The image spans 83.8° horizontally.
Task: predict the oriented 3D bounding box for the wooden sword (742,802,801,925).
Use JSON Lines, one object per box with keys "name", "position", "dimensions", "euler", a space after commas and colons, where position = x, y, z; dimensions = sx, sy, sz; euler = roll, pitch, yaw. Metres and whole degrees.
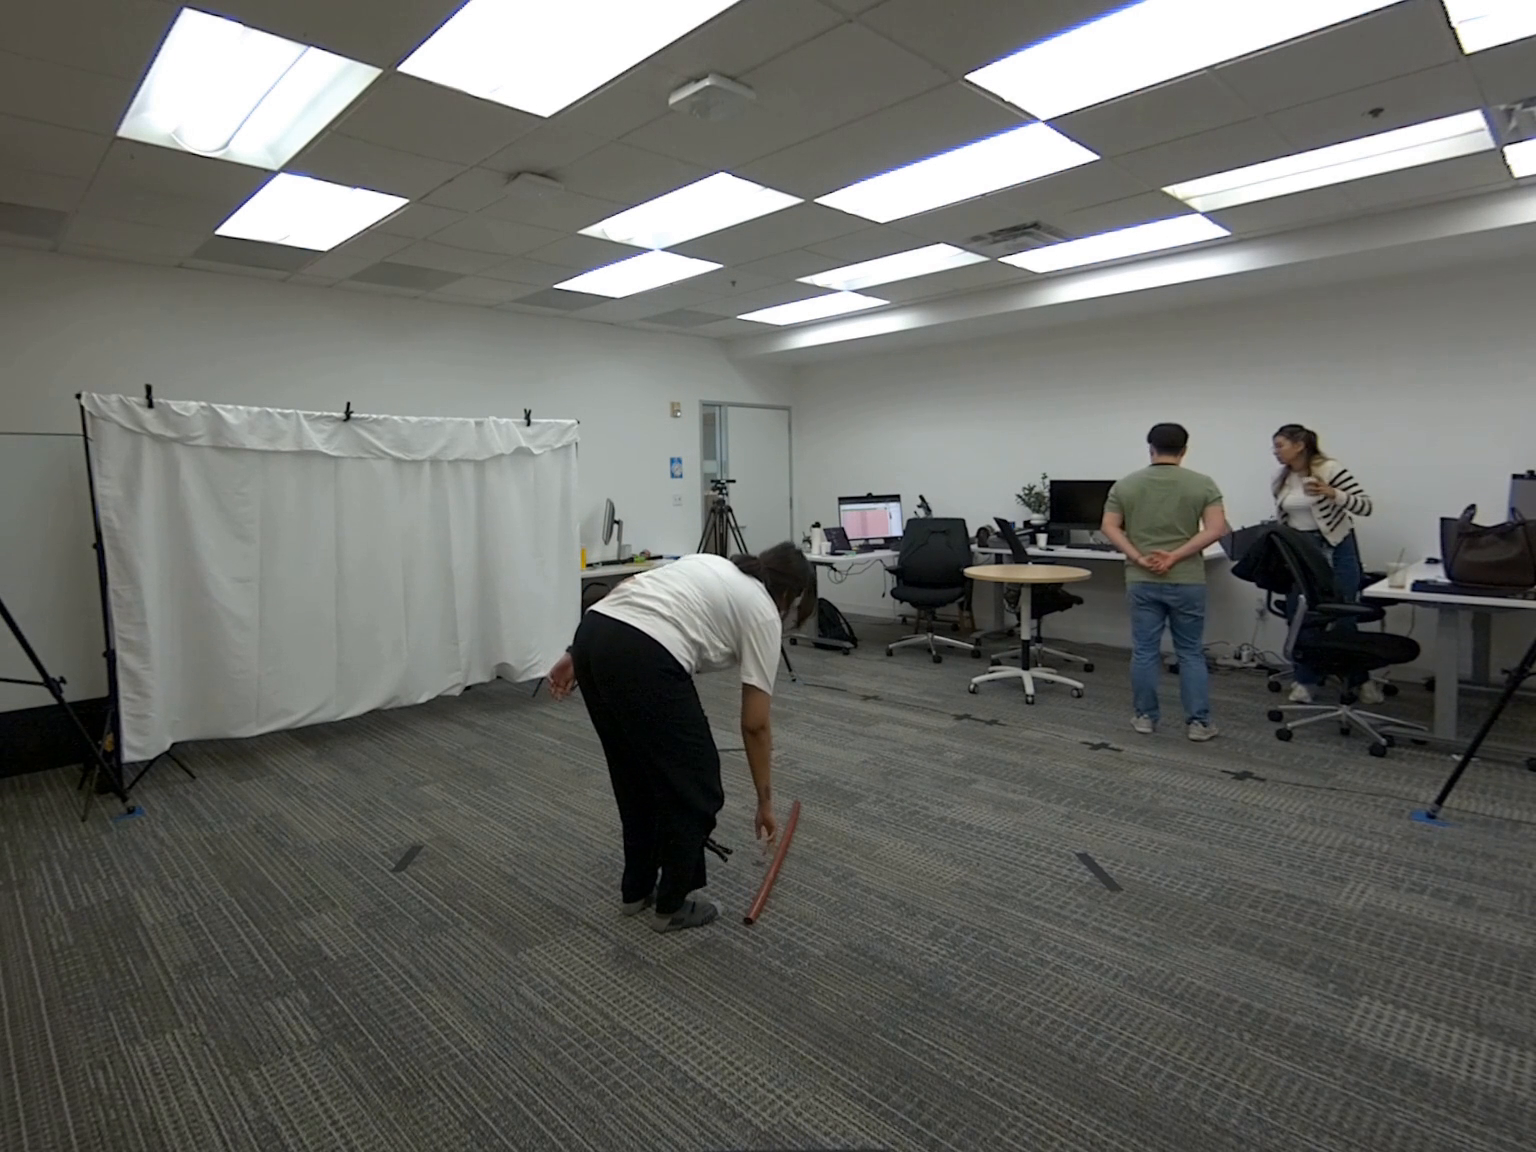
{"name": "wooden sword", "position": [0.044, 1.011, 3.177], "dimensions": [0.052, 0.024, 1.017], "euler": [-10, 4, 11]}
